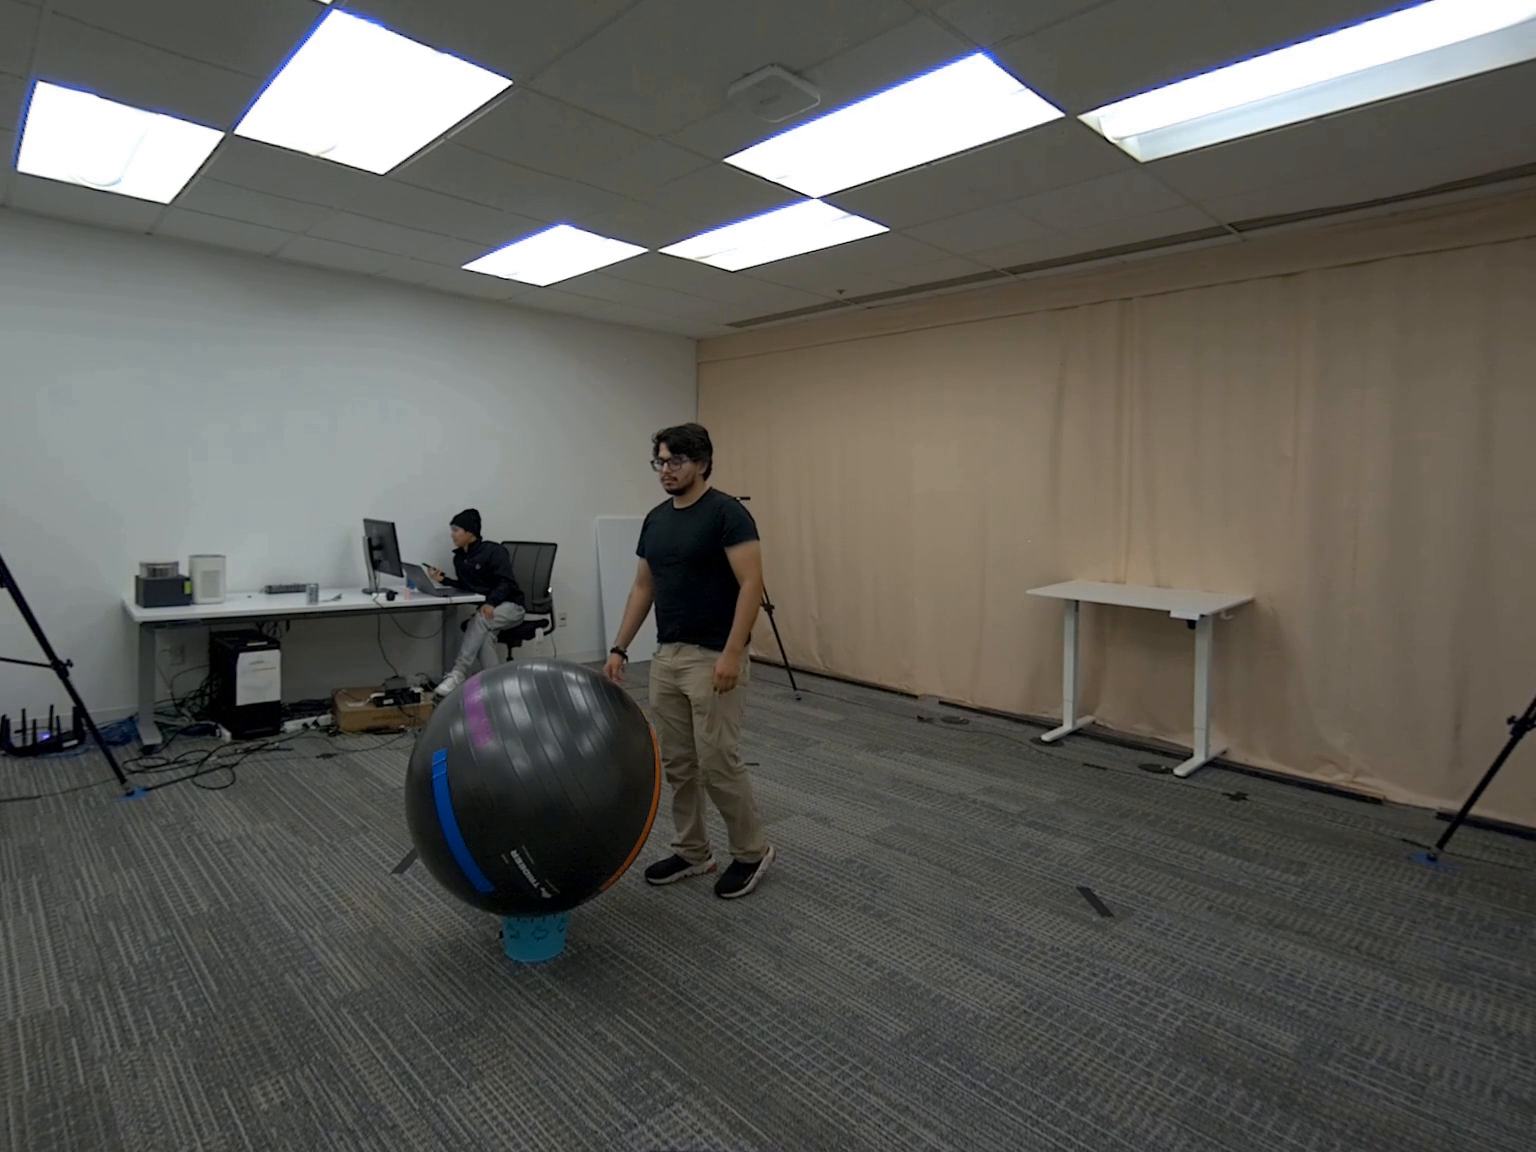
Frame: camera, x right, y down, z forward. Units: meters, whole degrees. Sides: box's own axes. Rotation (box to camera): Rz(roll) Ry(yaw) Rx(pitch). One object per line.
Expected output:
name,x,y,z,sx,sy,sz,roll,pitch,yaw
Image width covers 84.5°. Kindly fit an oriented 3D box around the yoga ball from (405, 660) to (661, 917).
yoga ball,-0.712,0.638,2.568,0.757,0.756,0.761,1,4,-1
